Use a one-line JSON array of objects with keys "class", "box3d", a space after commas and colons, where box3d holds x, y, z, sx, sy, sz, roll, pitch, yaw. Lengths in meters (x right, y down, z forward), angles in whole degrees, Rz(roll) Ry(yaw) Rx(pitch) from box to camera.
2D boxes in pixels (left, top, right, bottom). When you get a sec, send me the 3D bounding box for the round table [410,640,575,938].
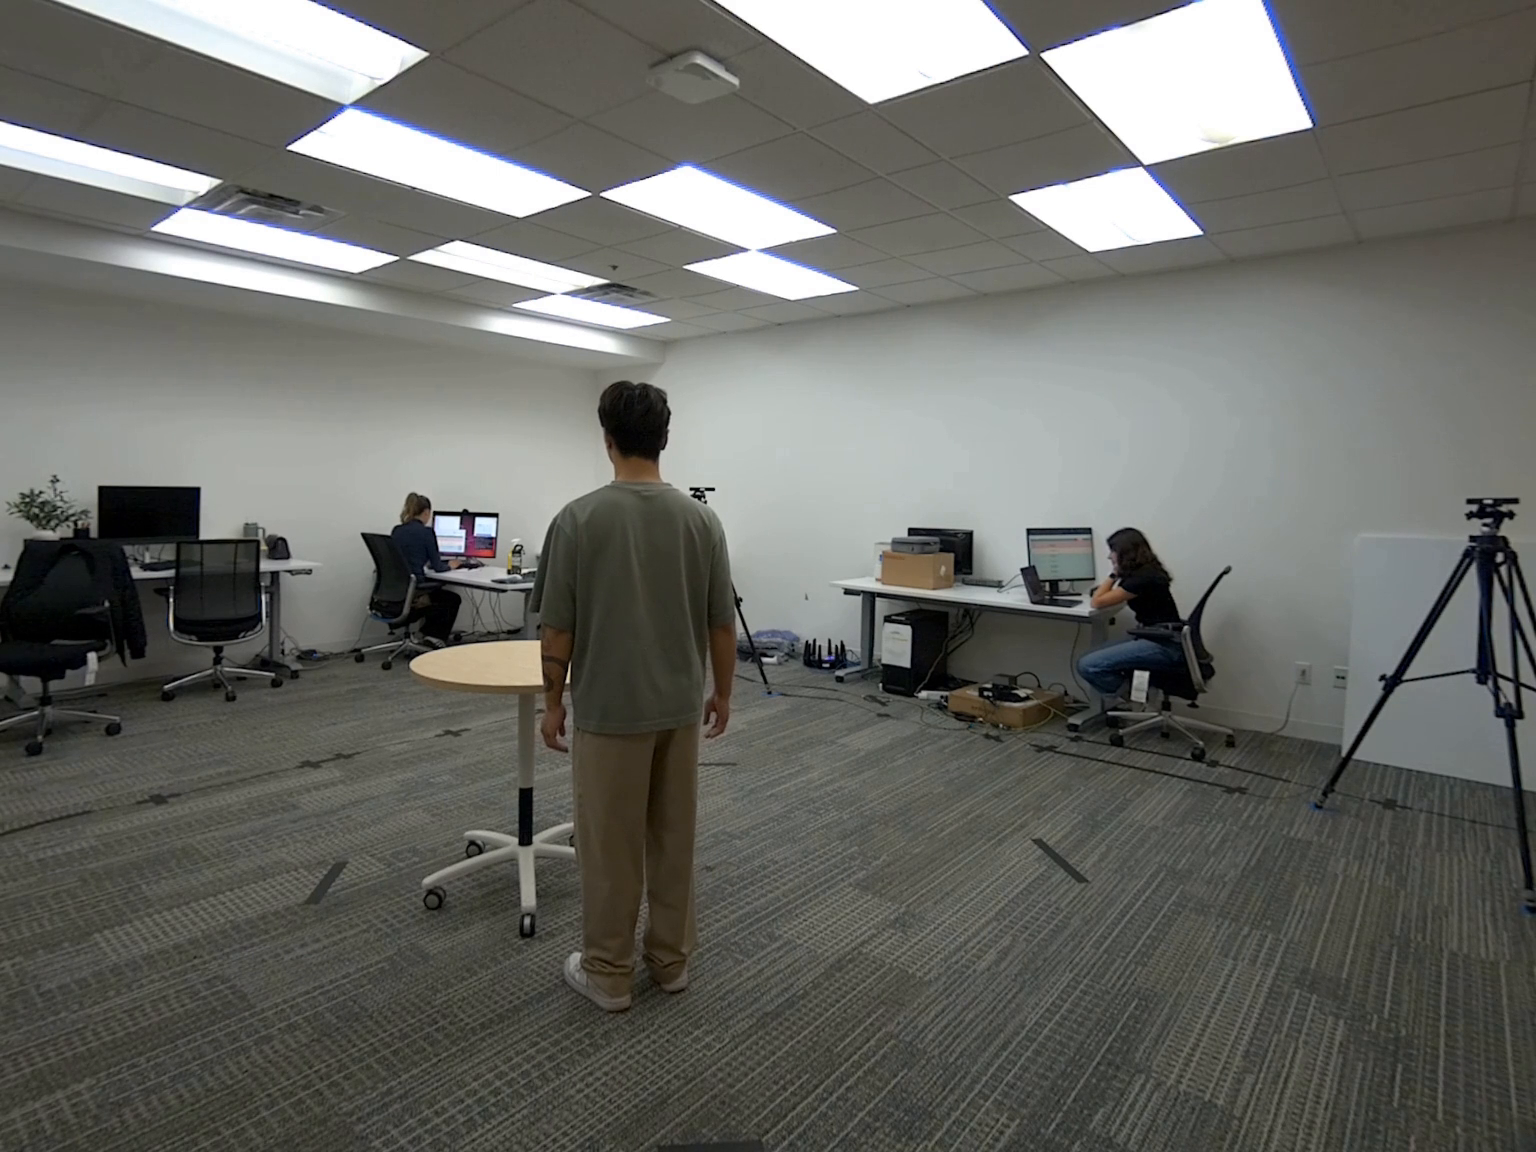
[{"class": "round table", "box3d": [-0.837, 0.677, 2.954, 0.784, 0.784, 0.789, 1, 4, -2]}]
